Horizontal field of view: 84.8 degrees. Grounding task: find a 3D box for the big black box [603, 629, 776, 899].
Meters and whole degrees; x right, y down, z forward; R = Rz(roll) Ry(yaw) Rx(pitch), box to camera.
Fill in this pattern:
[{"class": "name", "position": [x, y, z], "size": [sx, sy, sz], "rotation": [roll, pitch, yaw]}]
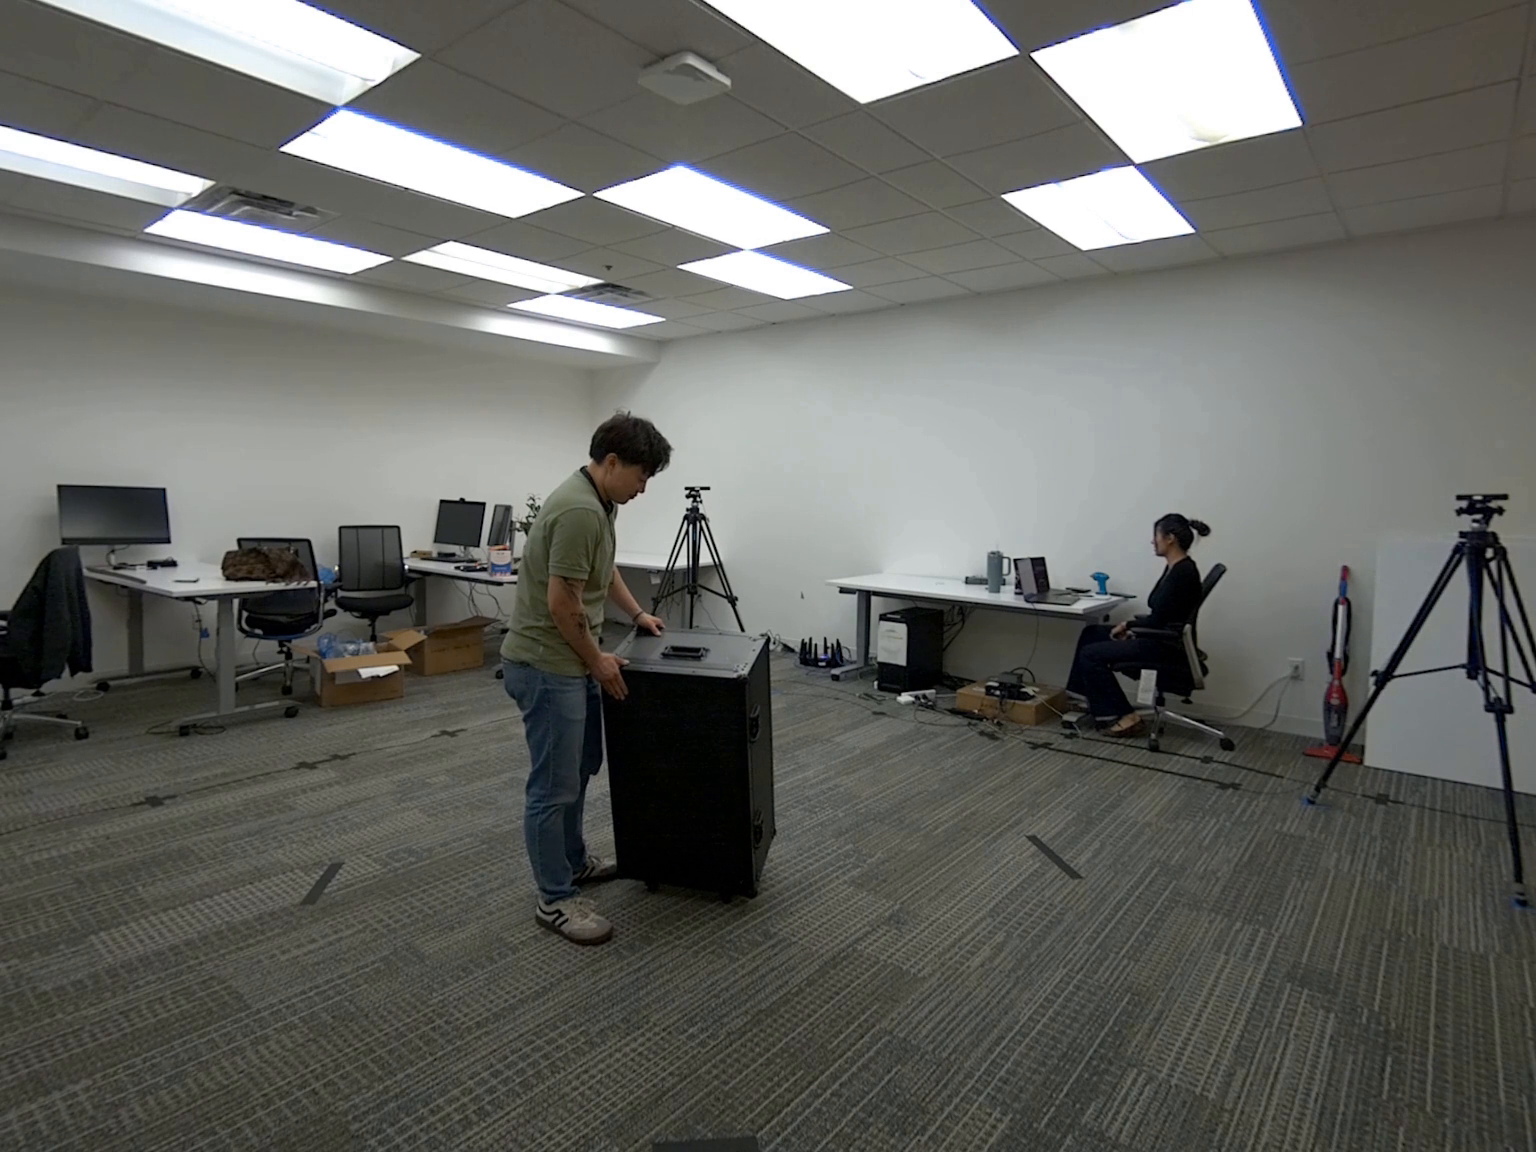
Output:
[{"class": "big black box", "position": [-0.261, 0.640, 2.918], "size": [0.529, 0.849, 0.396], "rotation": [2, 16, 13]}]
